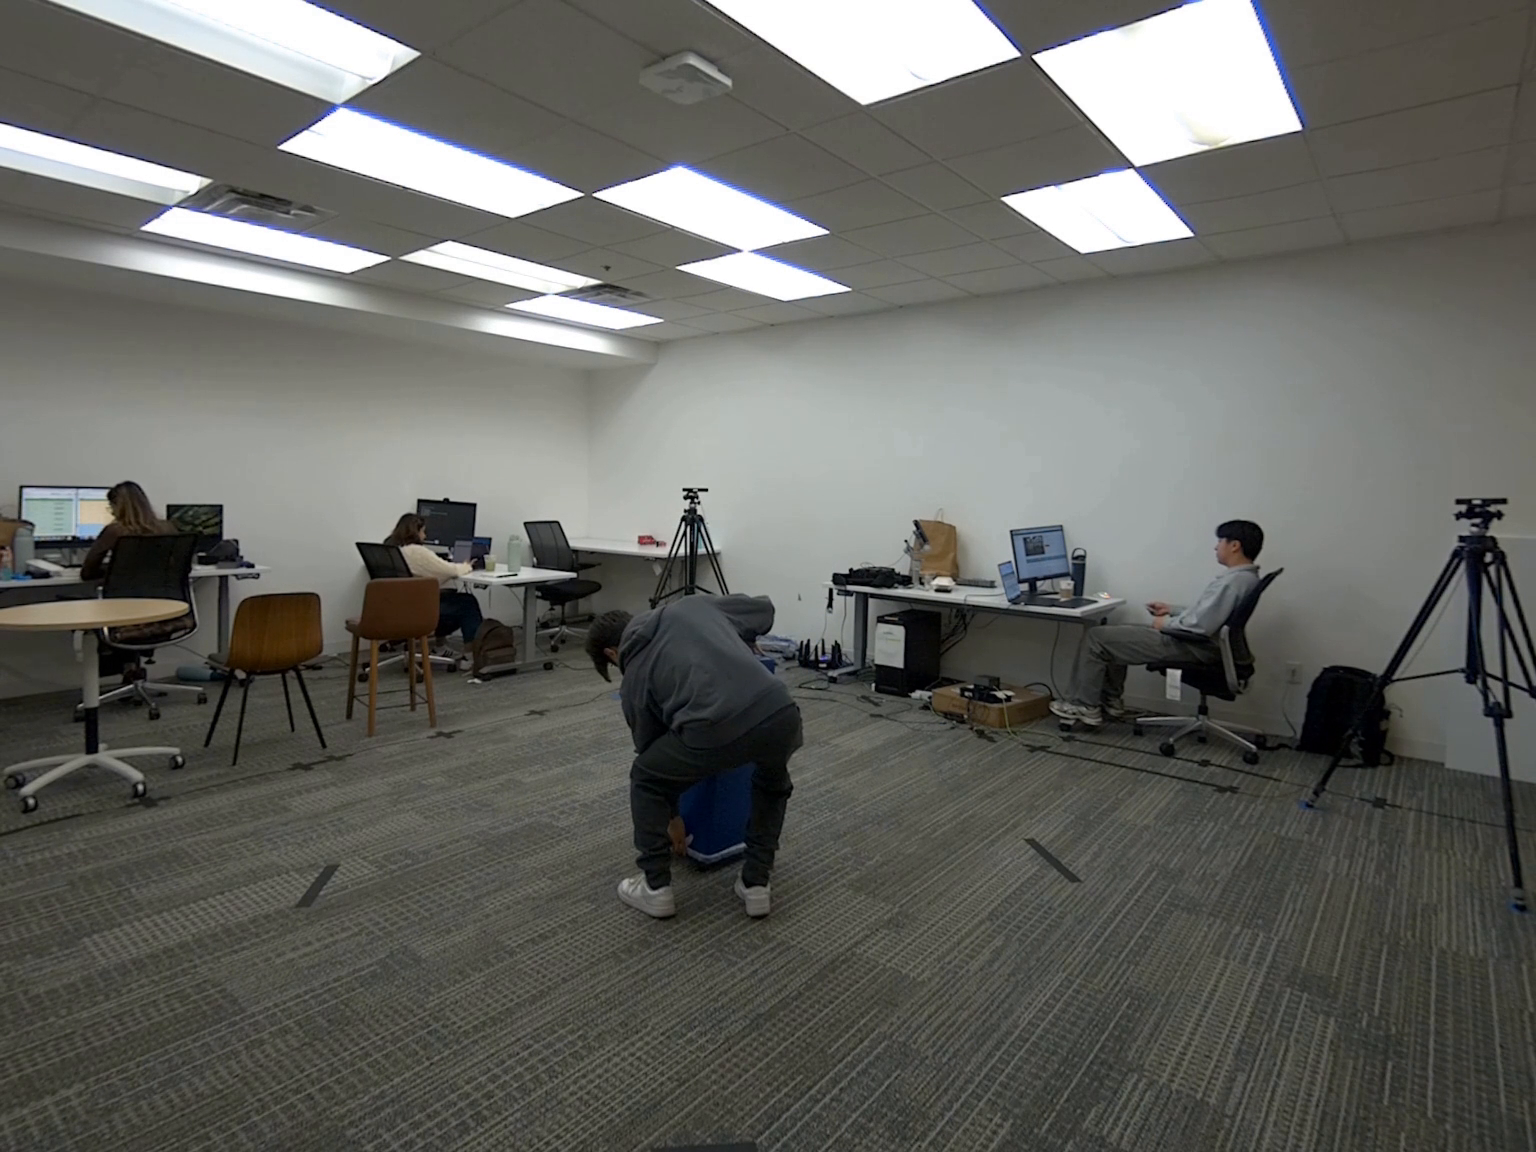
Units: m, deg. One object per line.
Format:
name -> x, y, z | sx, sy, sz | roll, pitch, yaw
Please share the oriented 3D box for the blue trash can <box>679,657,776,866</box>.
blue trash can -> -0.214, 0.650, 3.279 | 0.391, 0.712, 0.362 | 8, 3, 42
